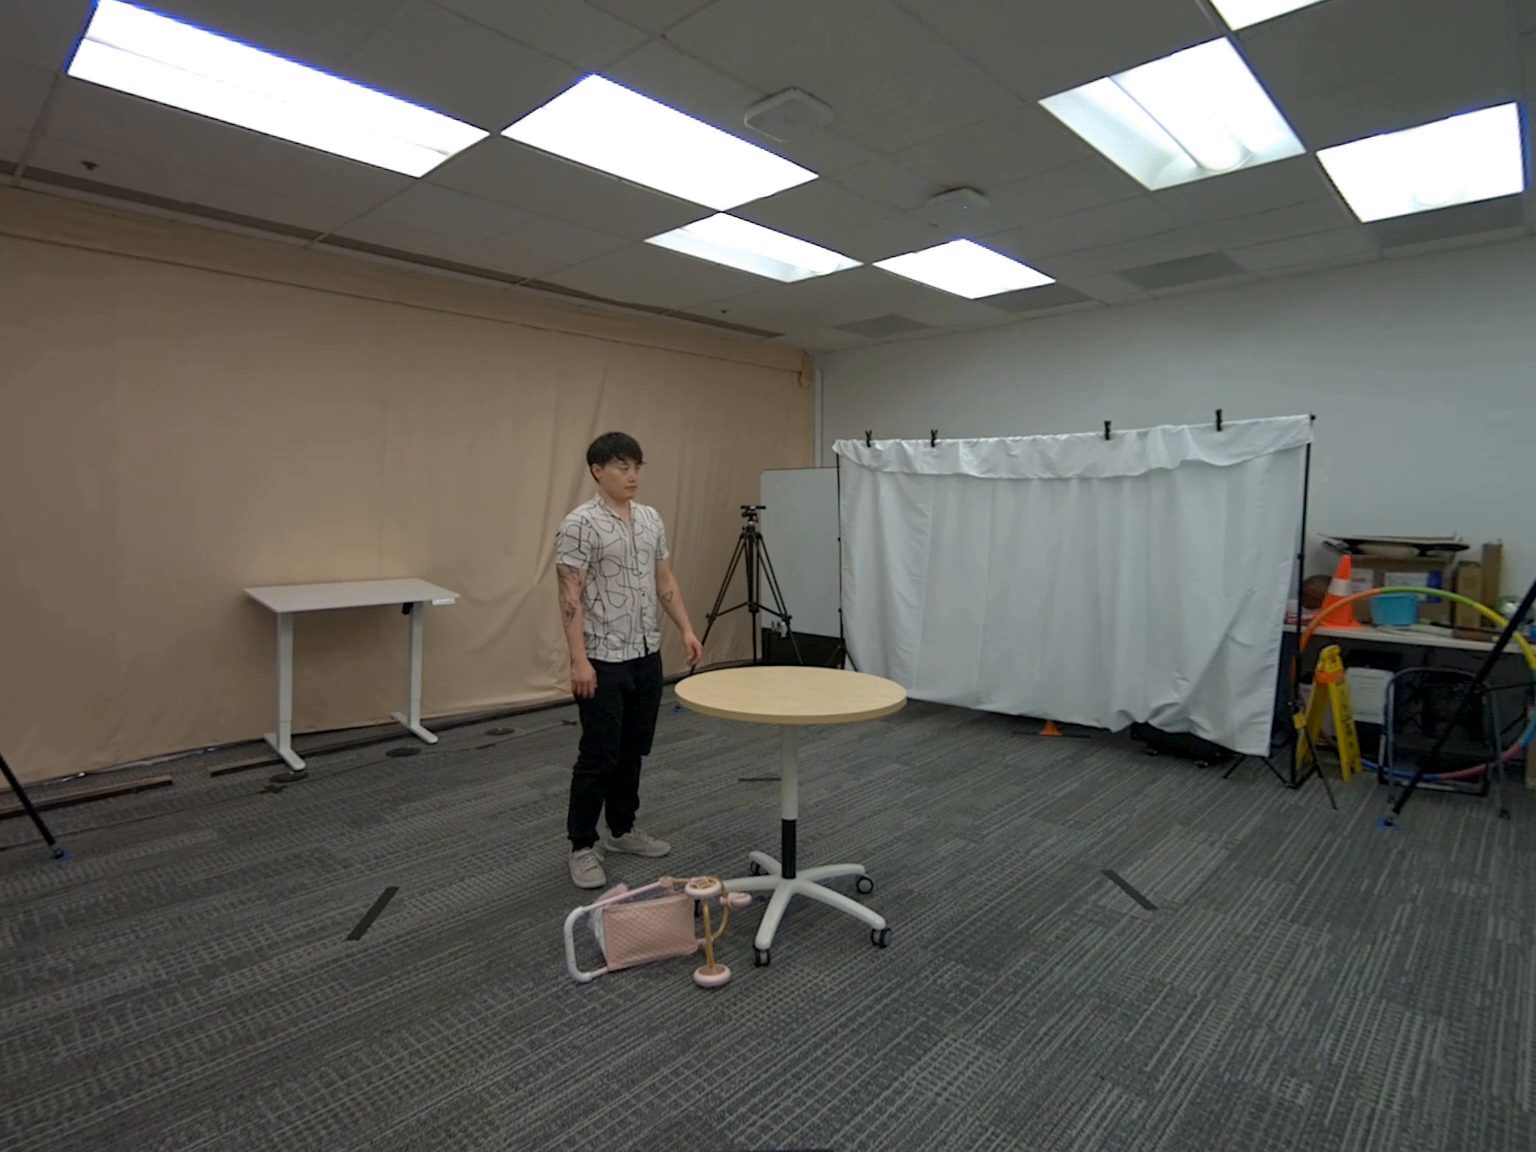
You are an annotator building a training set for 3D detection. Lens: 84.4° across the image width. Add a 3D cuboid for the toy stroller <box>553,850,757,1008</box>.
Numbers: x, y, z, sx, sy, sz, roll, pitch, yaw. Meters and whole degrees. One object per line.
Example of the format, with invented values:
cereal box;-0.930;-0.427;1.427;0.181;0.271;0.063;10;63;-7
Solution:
toy stroller;-0.328;1.061;2.581;0.538;0.281;0.340;-7;1;5
